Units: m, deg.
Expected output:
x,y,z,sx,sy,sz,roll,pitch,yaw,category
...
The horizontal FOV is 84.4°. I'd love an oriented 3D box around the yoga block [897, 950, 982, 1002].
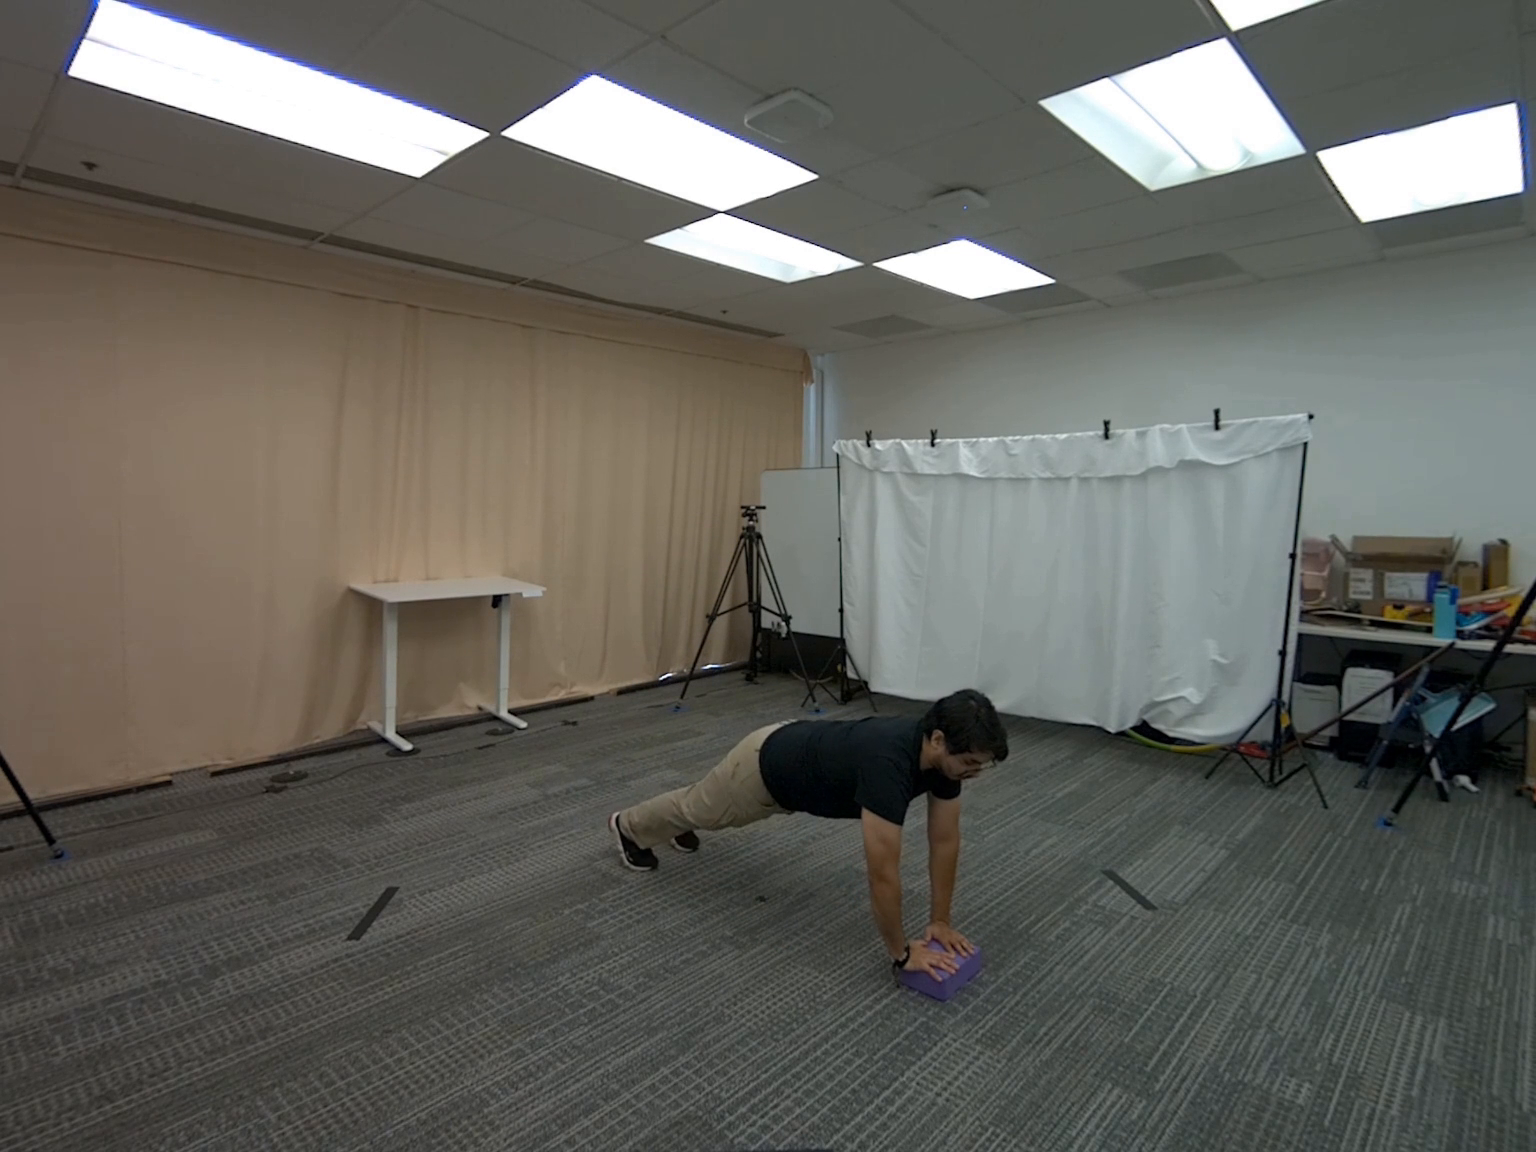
x,y,z,sx,sy,sz,roll,pitch,yaw,category
0.515,1.149,2.483,0.154,0.076,0.222,6,6,41,yoga block
